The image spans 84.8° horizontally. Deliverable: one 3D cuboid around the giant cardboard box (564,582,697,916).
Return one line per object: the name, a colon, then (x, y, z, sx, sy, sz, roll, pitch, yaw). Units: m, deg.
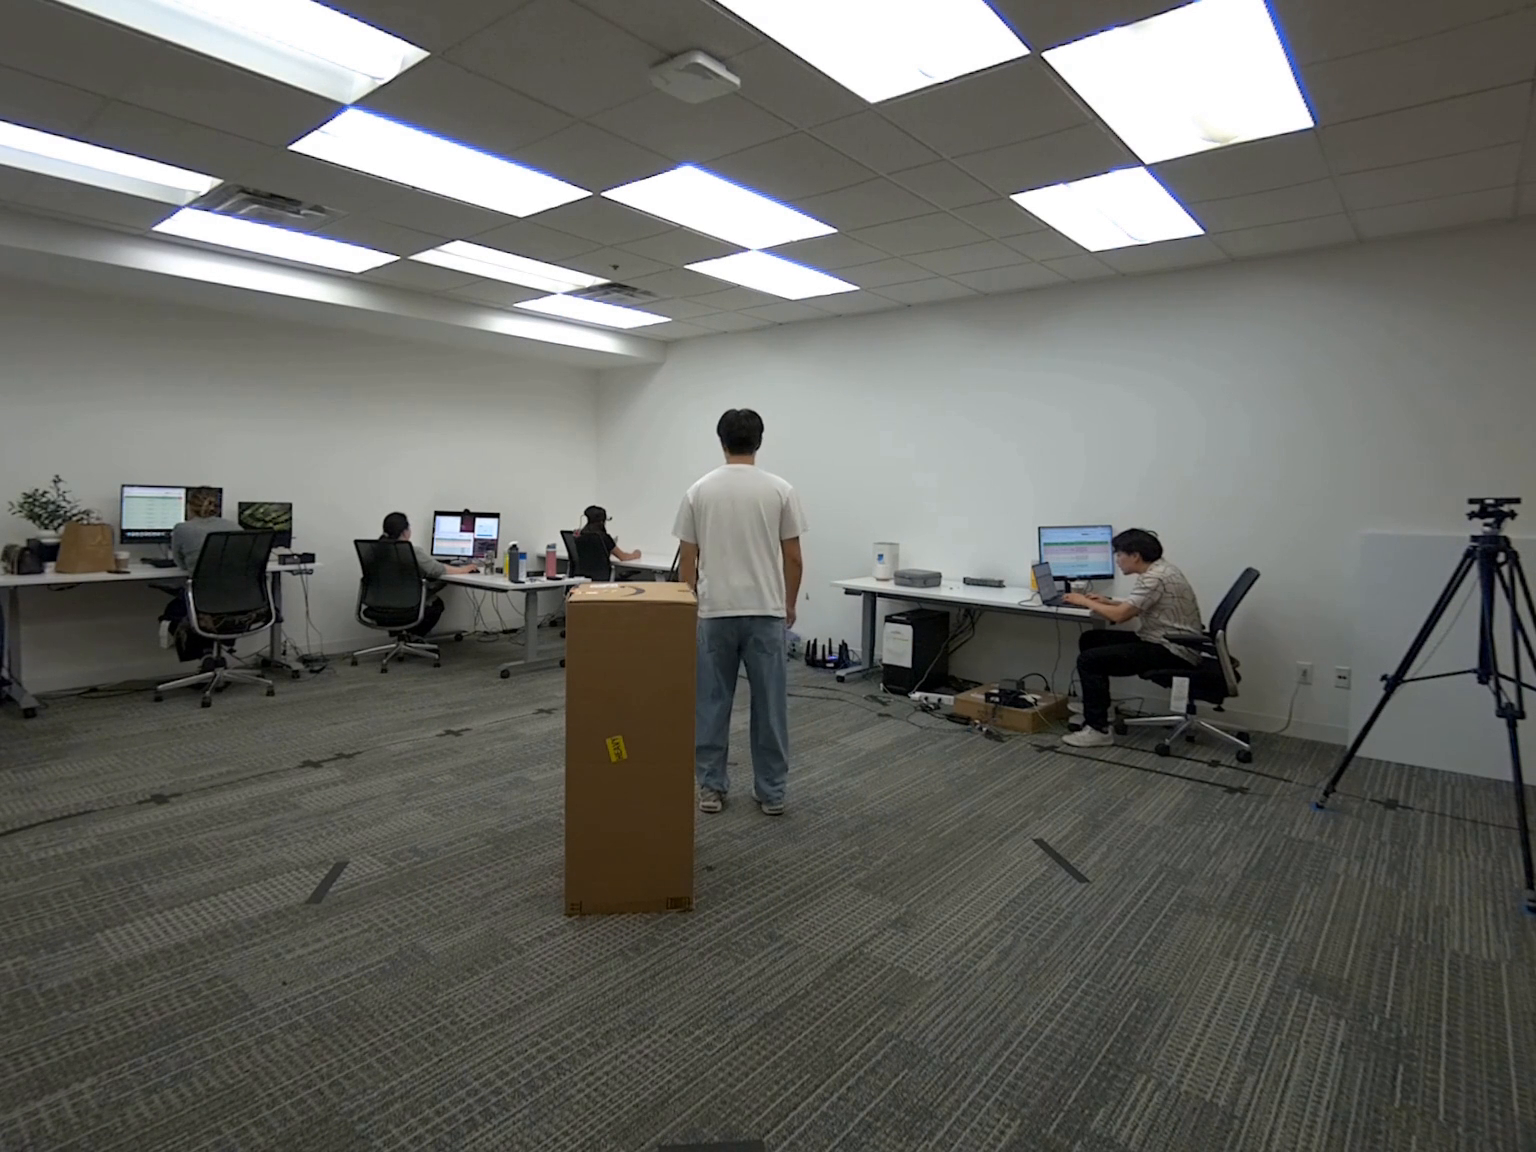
giant cardboard box: (-0.504, 0.561, 3.023, 0.423, 1.023, 0.584, 0, 3, -8)
